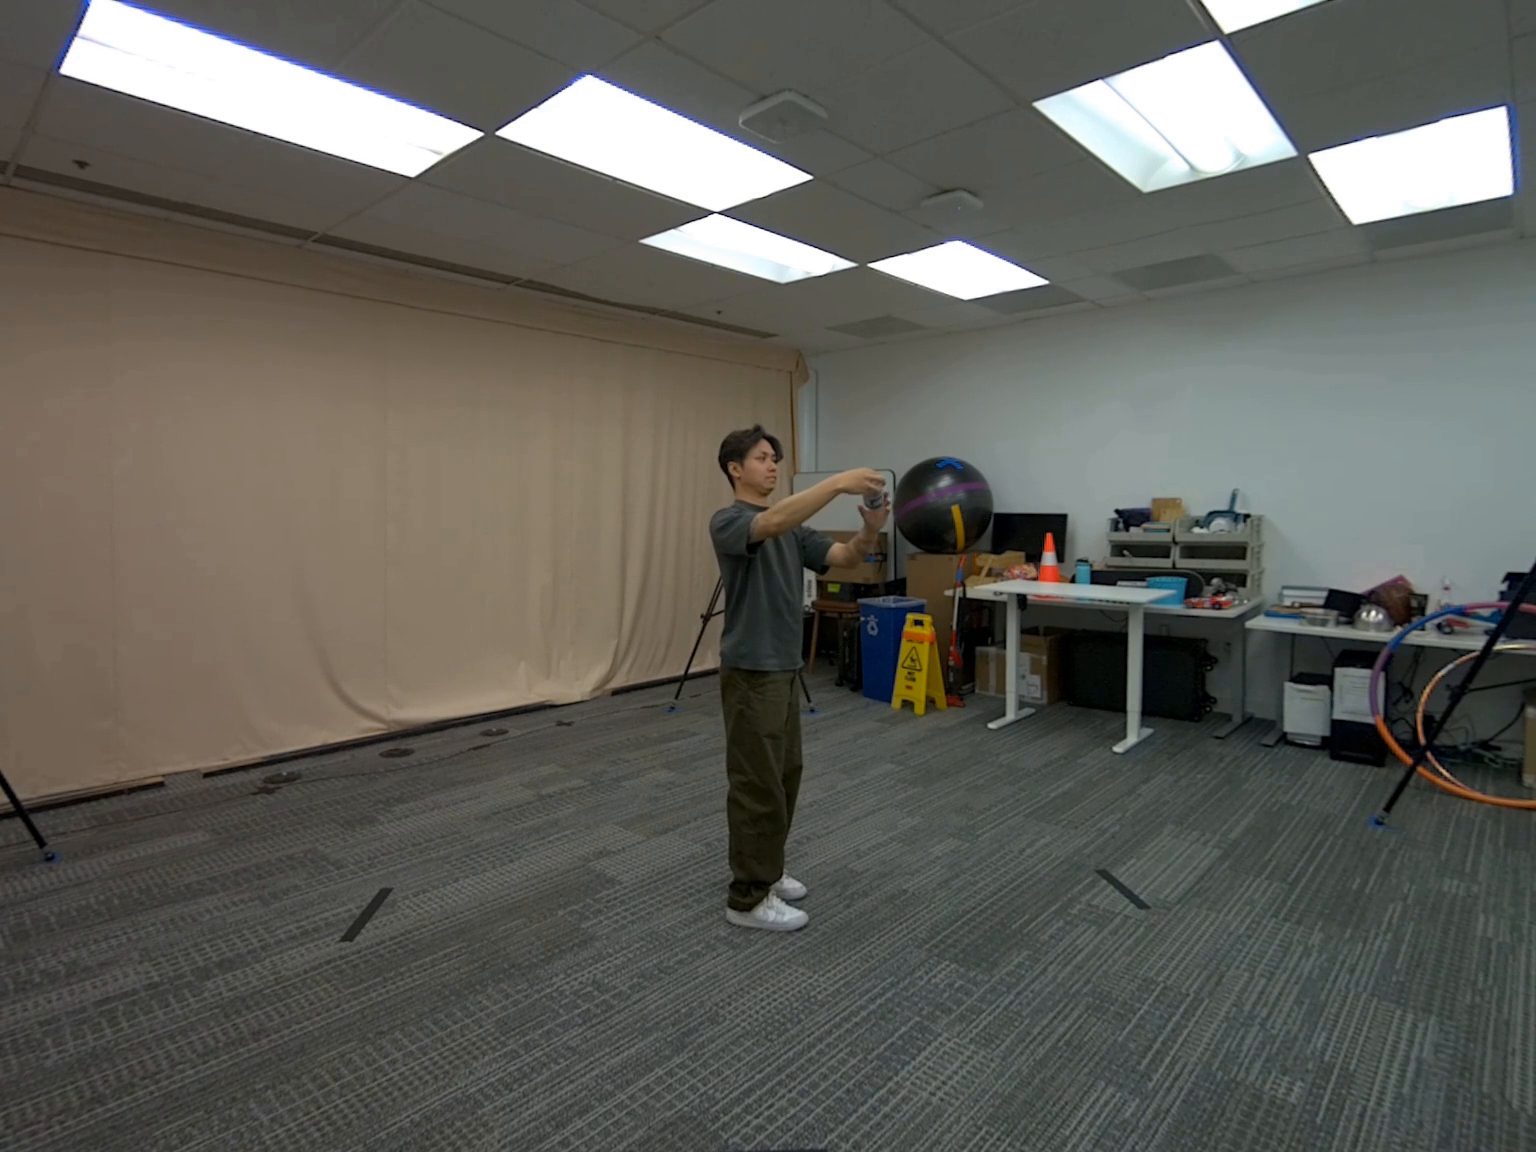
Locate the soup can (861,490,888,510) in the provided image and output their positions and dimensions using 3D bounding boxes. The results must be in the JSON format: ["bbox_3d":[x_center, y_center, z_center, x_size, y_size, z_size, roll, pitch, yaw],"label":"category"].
[{"bbox_3d":[0.327,-0.264,2.625,0.068,0.068,0.119,1,-27,7],"label":"soup can"}]
